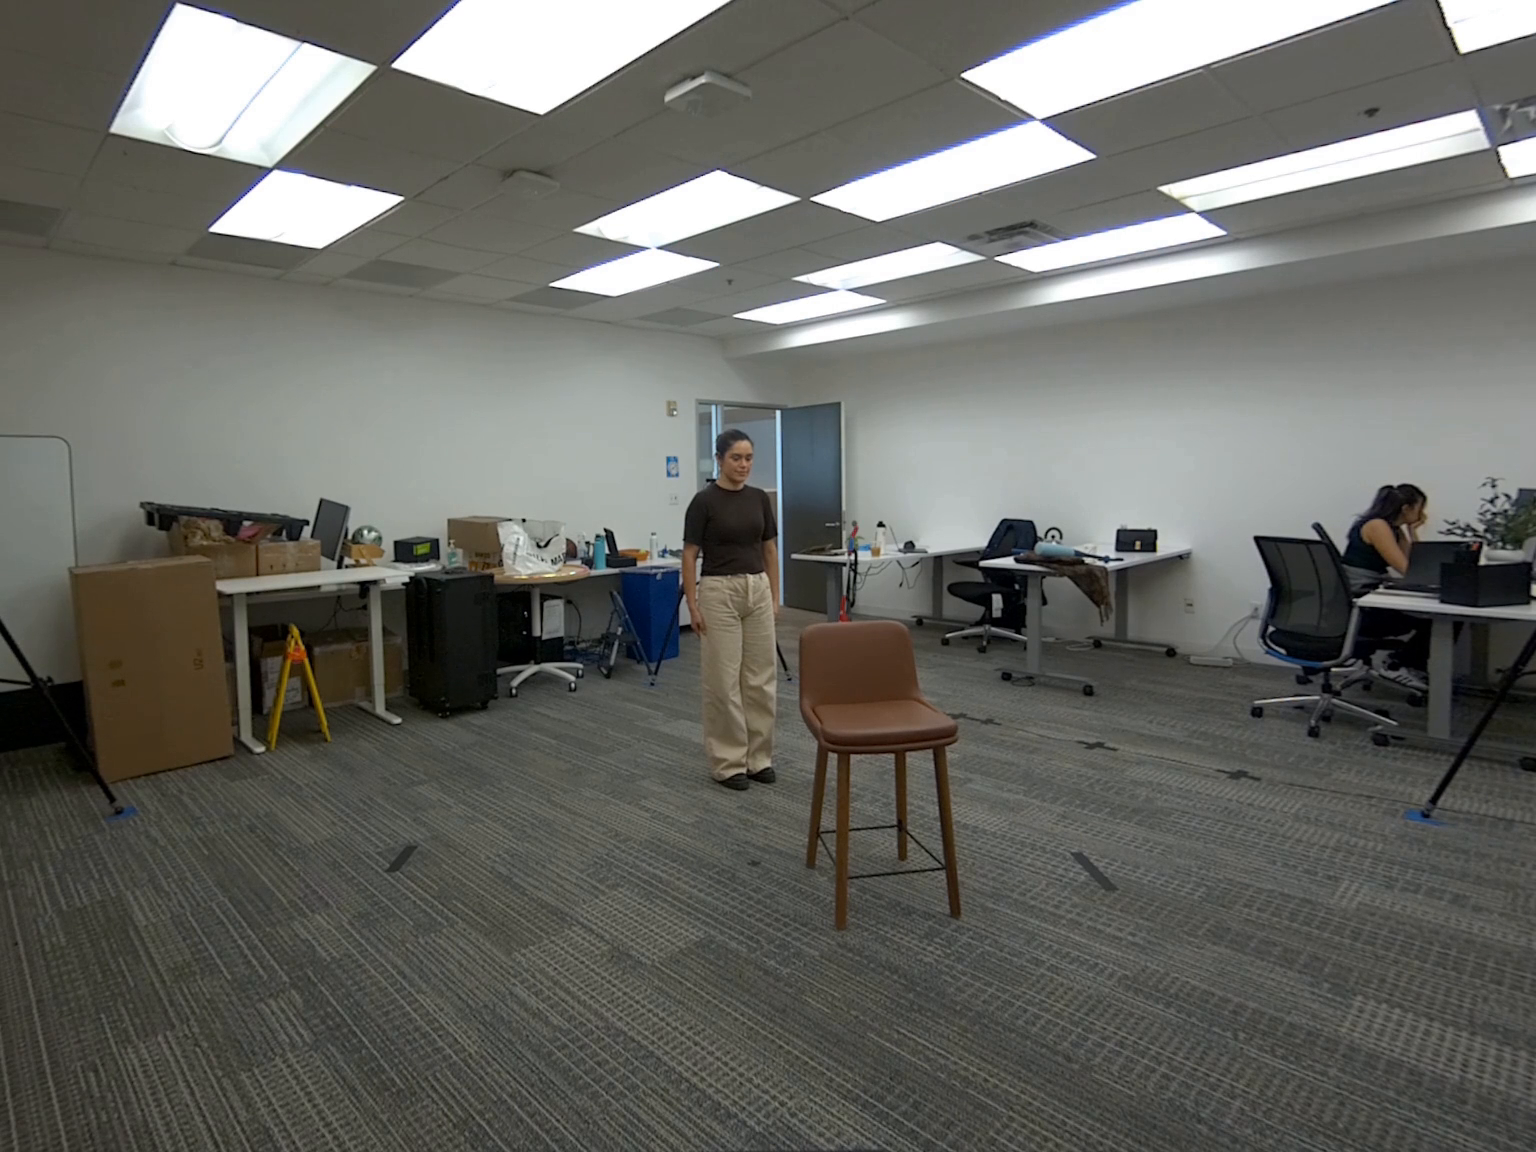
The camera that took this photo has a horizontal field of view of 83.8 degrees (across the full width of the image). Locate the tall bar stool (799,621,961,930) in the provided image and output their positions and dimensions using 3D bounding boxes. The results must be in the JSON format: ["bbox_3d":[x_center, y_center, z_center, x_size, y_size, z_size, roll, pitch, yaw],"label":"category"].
[{"bbox_3d":[0.358,0.629,2.868,0.452,0.888,0.473,-1,2,-10],"label":"tall bar stool"}]
